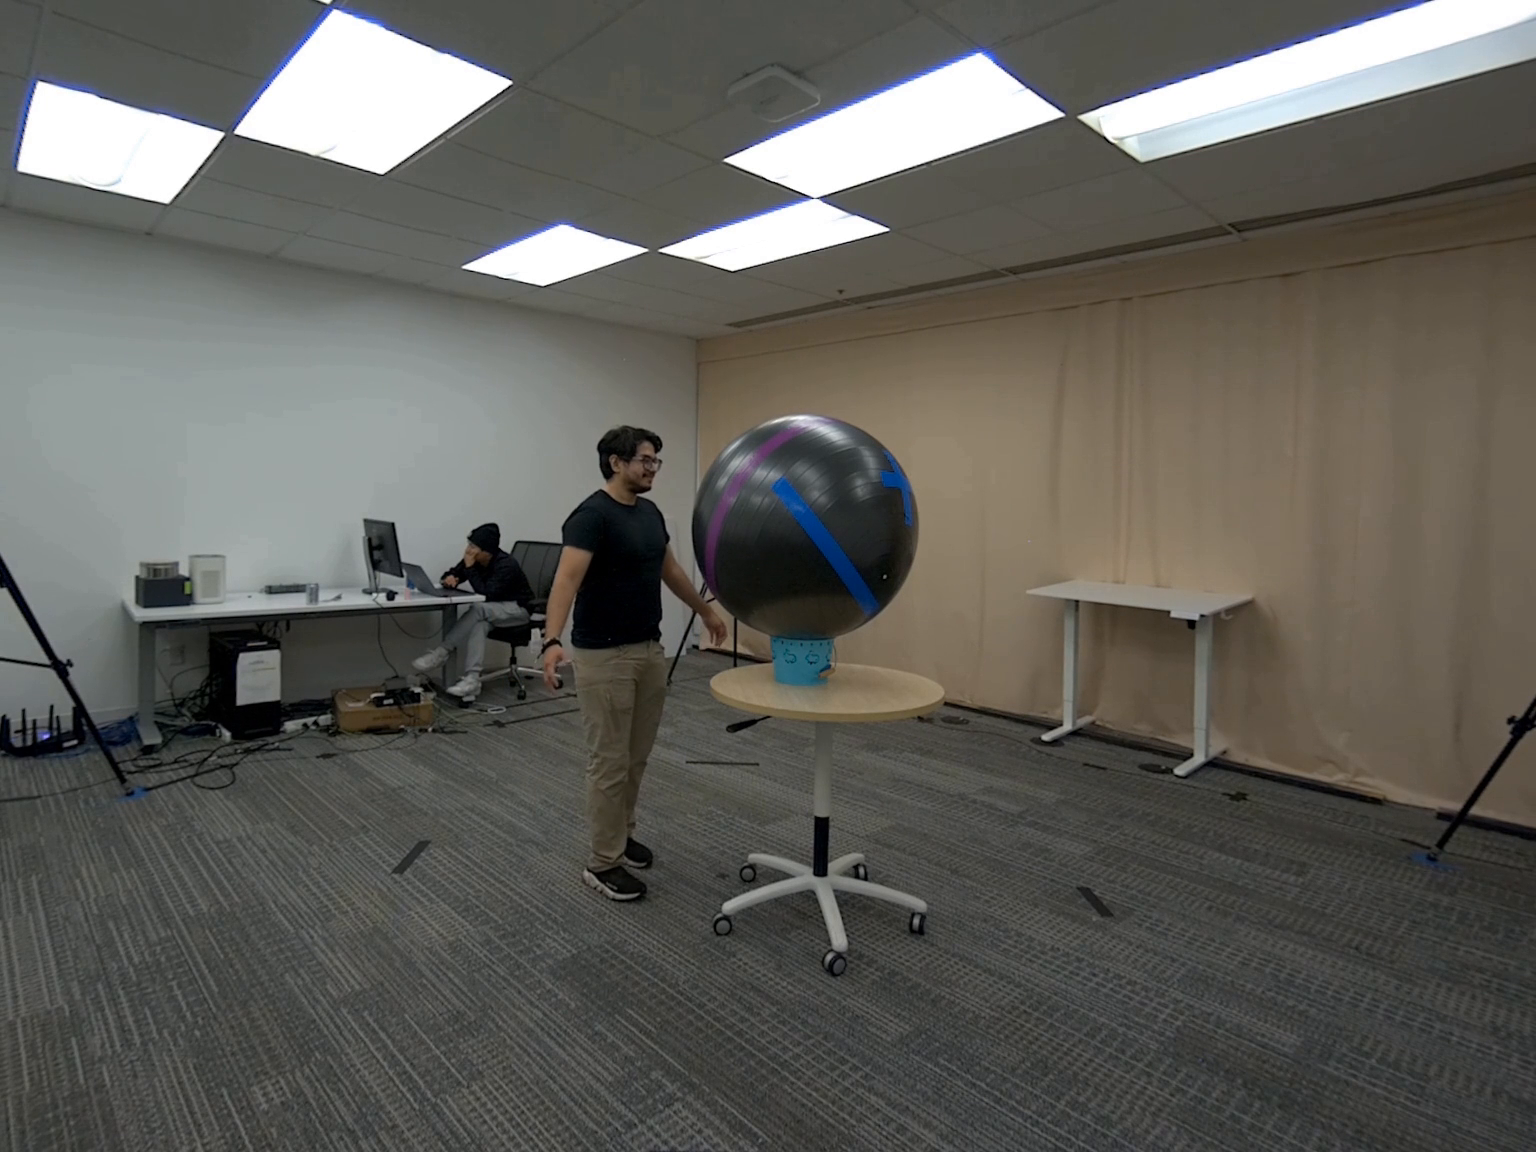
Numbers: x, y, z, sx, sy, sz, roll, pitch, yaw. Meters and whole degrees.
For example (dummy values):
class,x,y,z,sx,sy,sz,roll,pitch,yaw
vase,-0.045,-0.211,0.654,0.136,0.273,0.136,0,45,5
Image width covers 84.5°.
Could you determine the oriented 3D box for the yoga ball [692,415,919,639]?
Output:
class,x,y,z,sx,sy,sz,roll,pitch,yaw
yoga ball,0.118,-0.154,2.837,0.757,0.756,0.761,1,4,-1
